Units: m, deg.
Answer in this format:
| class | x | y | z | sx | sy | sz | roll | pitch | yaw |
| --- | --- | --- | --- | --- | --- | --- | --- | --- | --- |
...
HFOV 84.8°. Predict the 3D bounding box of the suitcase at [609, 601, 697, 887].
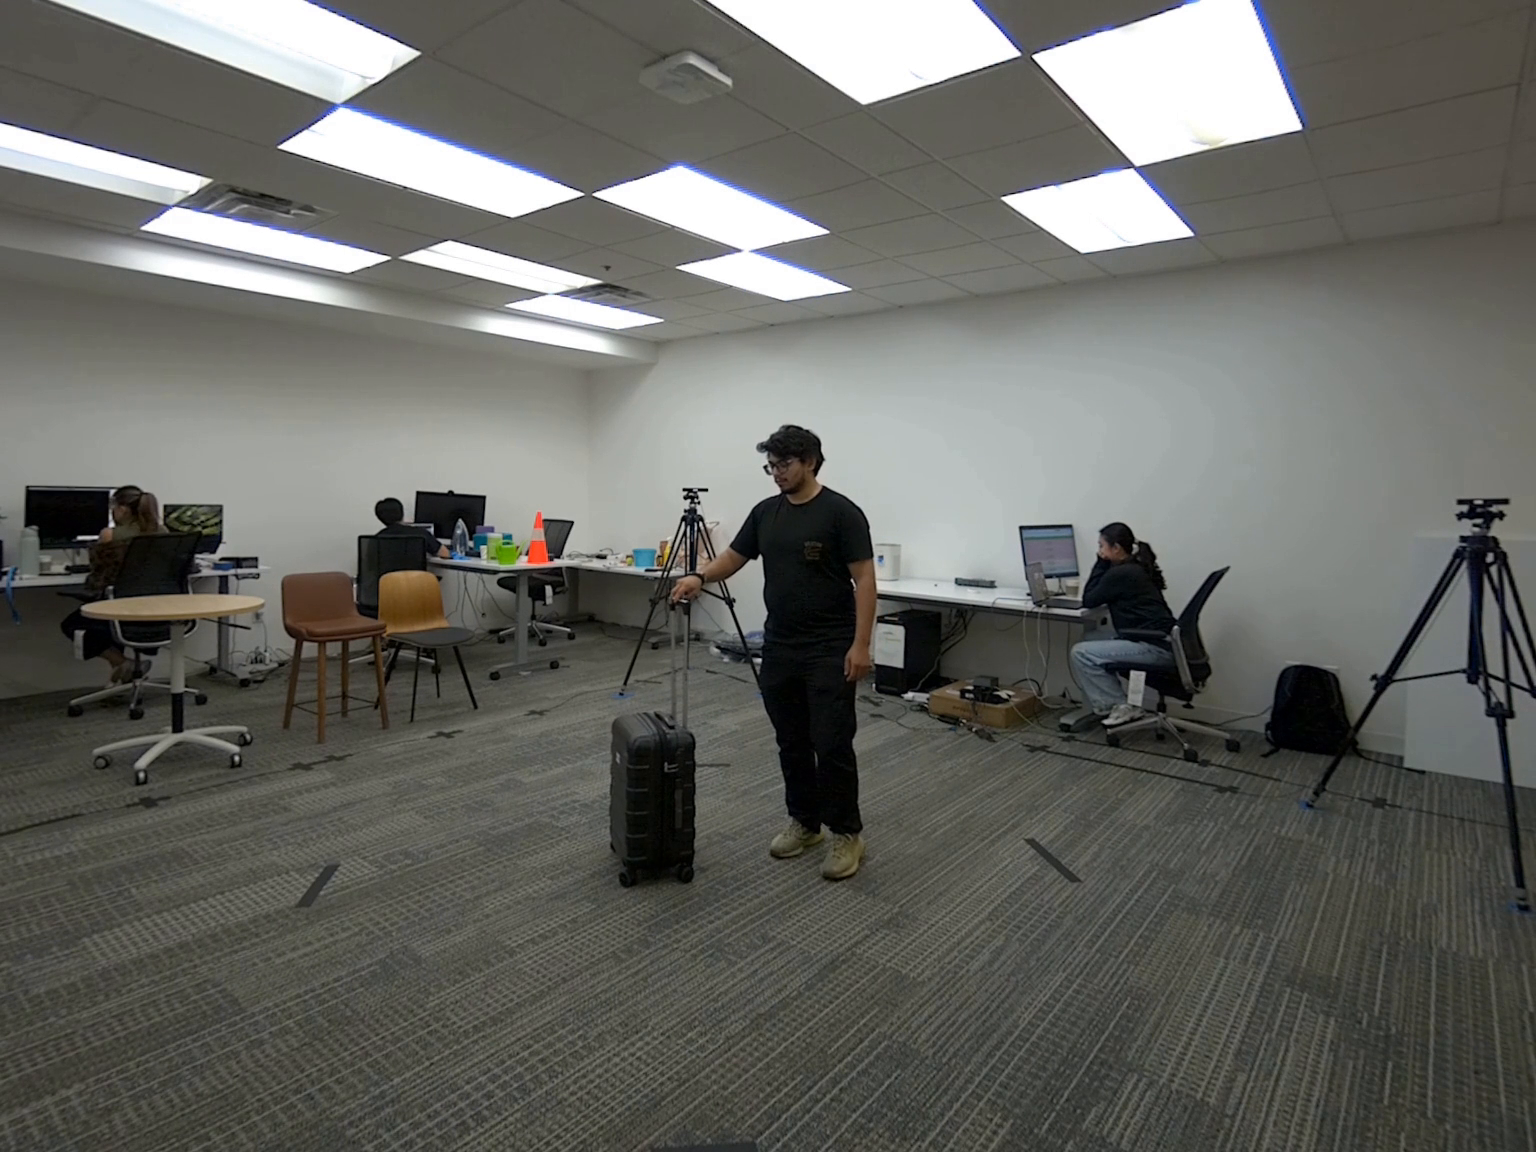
| class | x | y | z | sx | sy | sz | roll | pitch | yaw |
| --- | --- | --- | --- | --- | --- | --- | --- | --- | --- |
| suitcase | -0.446 | 0.593 | 3.105 | 0.253 | 0.975 | 0.392 | -3 | 4 | -17 |
